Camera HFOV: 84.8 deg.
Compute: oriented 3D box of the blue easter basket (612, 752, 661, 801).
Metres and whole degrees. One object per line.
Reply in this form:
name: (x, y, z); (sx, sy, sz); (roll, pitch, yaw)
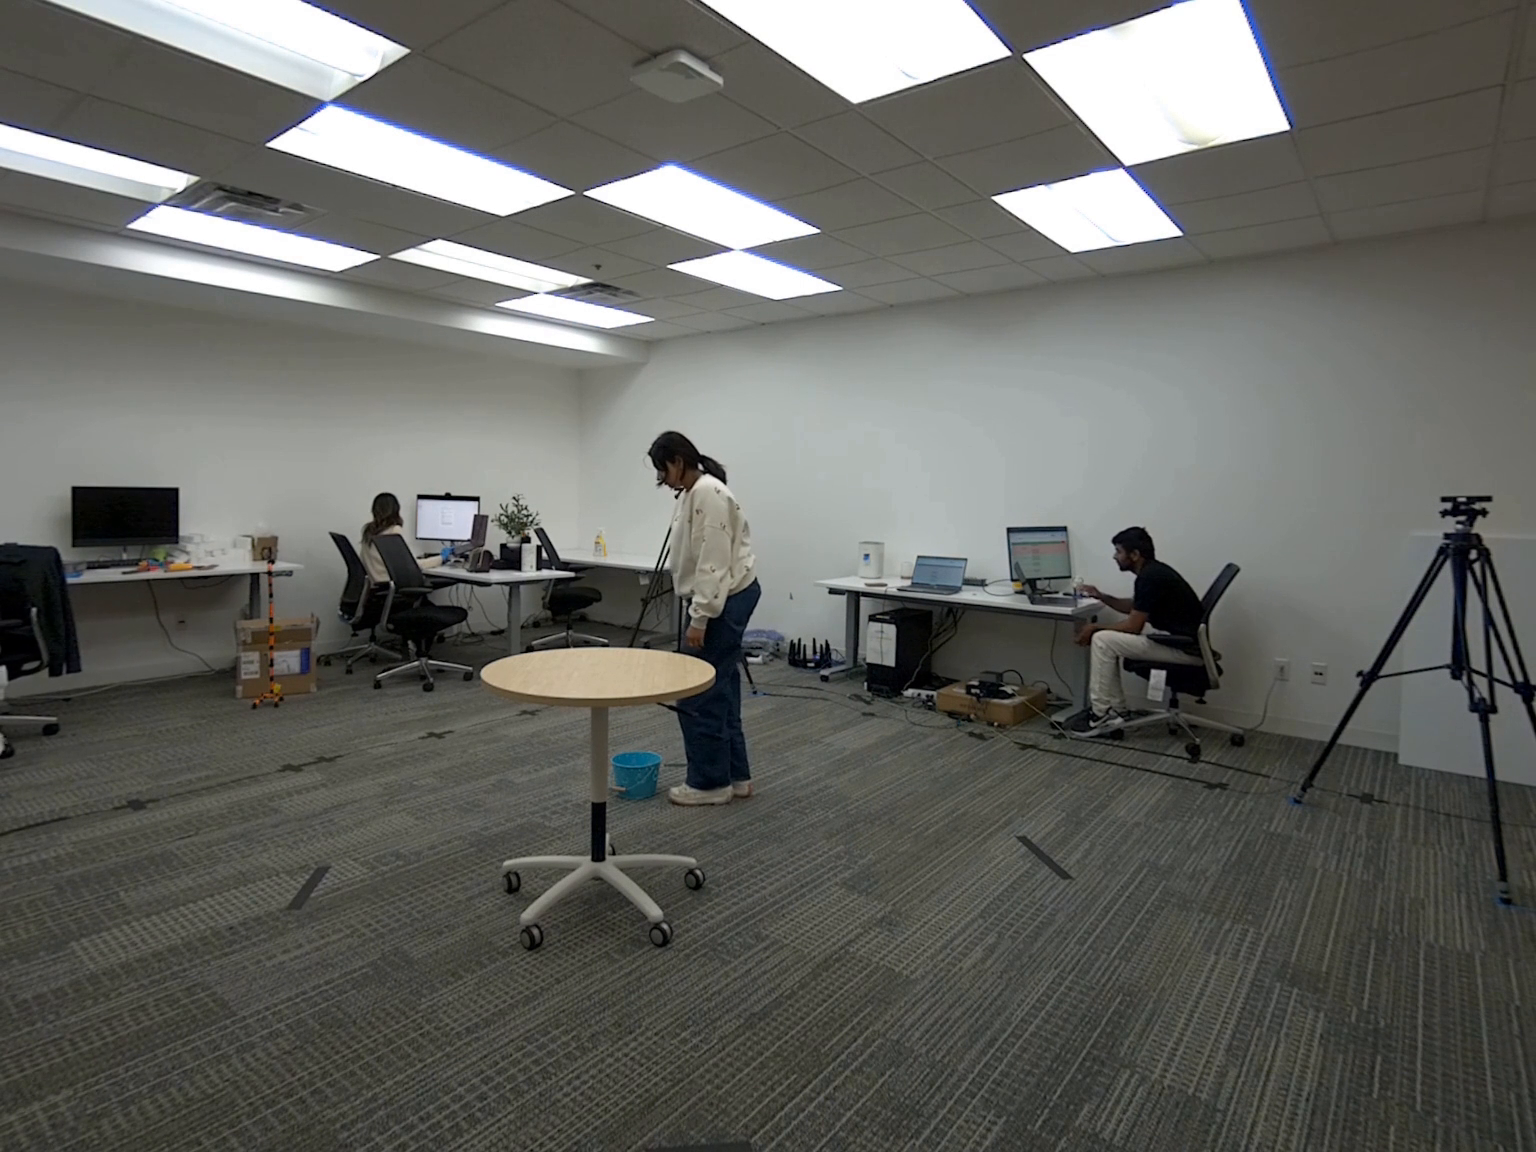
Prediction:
blue easter basket: (-0.622, 0.909, 3.903); (0.243, 0.155, 0.245); (1, 5, -2)
